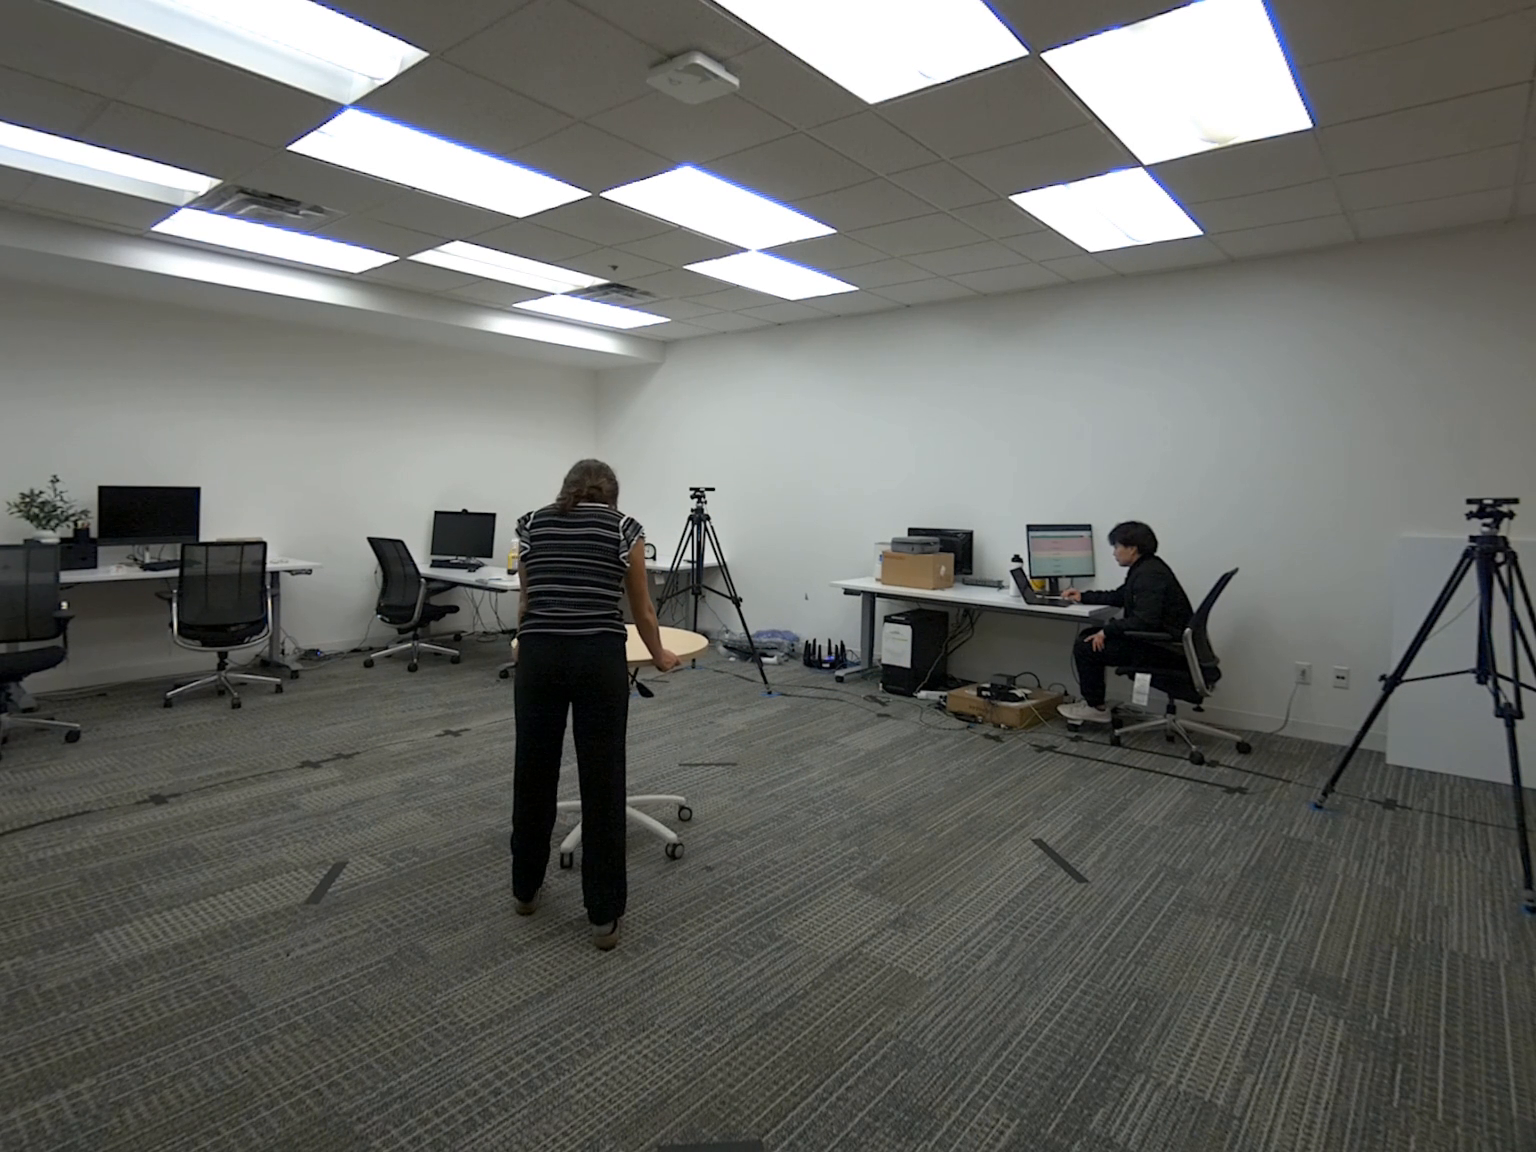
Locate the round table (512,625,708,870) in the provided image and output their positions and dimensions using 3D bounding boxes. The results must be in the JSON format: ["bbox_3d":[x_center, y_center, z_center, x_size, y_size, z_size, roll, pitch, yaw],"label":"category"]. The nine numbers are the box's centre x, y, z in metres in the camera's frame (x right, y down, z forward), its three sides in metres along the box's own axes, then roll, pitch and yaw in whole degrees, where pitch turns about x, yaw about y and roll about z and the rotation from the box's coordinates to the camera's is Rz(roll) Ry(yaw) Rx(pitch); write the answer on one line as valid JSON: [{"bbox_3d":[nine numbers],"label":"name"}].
[{"bbox_3d":[-0.624,0.644,3.376,0.763,0.791,0.768,1,4,-2],"label":"round table"}]
